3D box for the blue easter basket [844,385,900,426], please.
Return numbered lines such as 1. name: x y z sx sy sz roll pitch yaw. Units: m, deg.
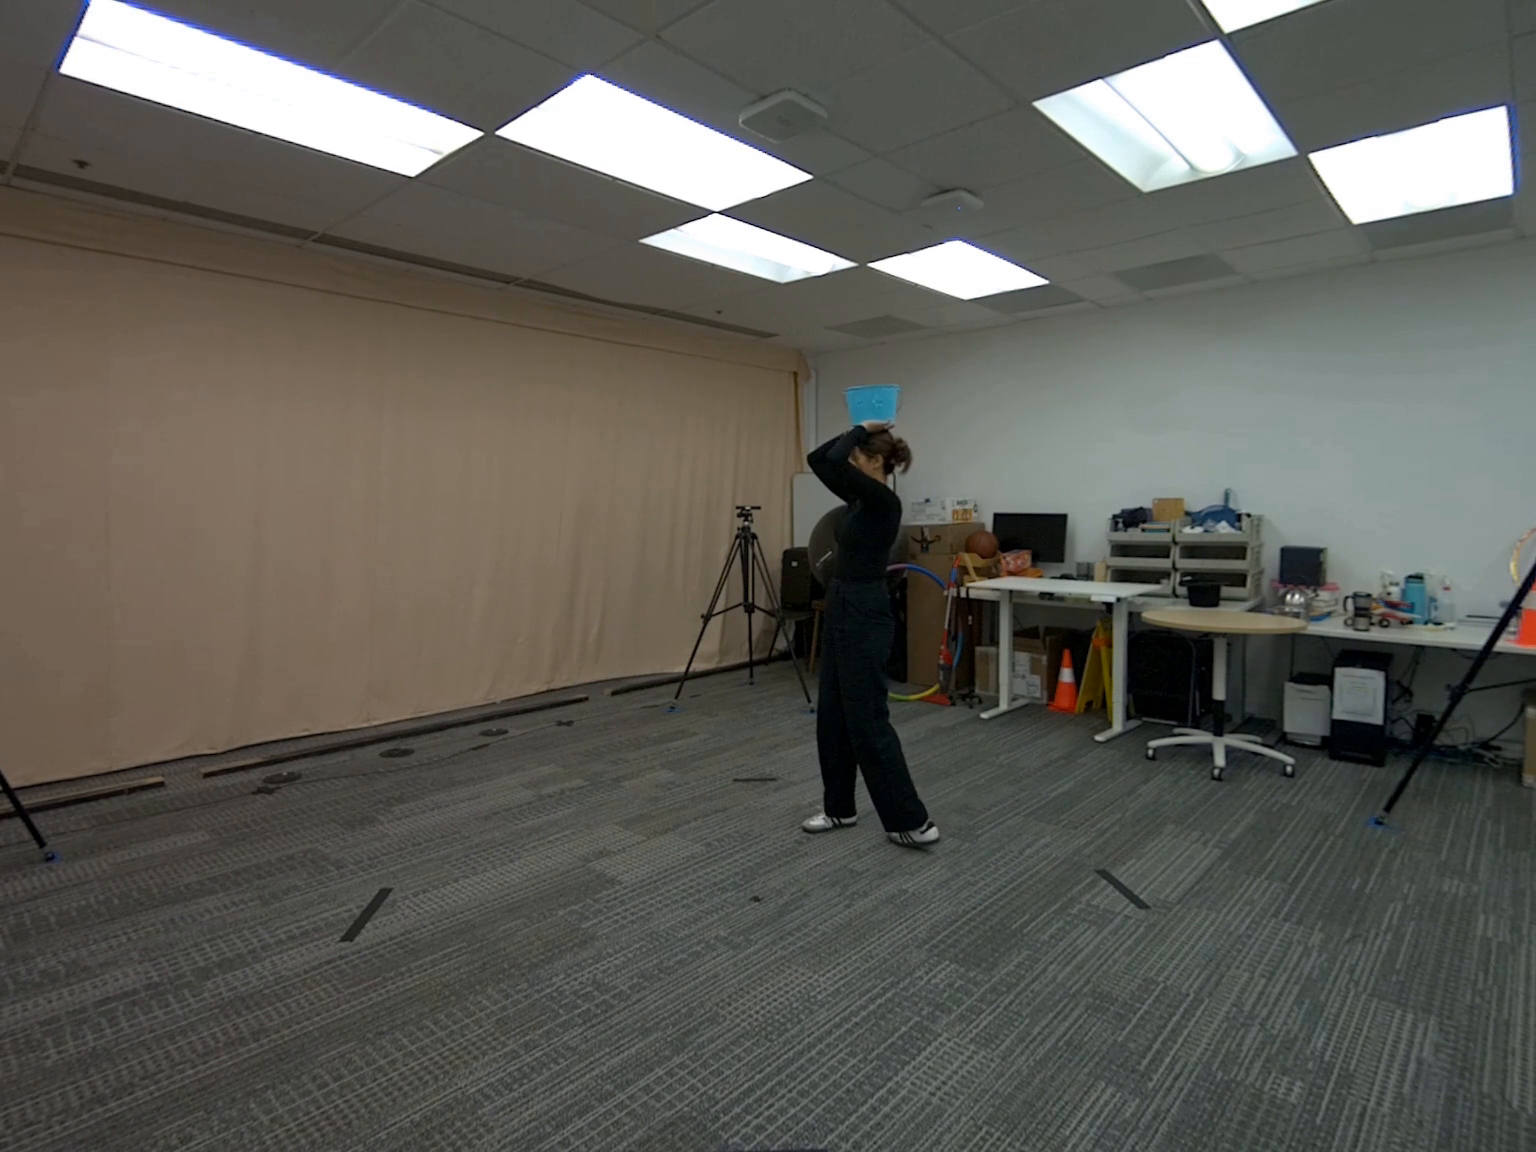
1. blue easter basket: 0.446 -0.702 3.503 0.243 0.155 0.244 -2 4 -2
